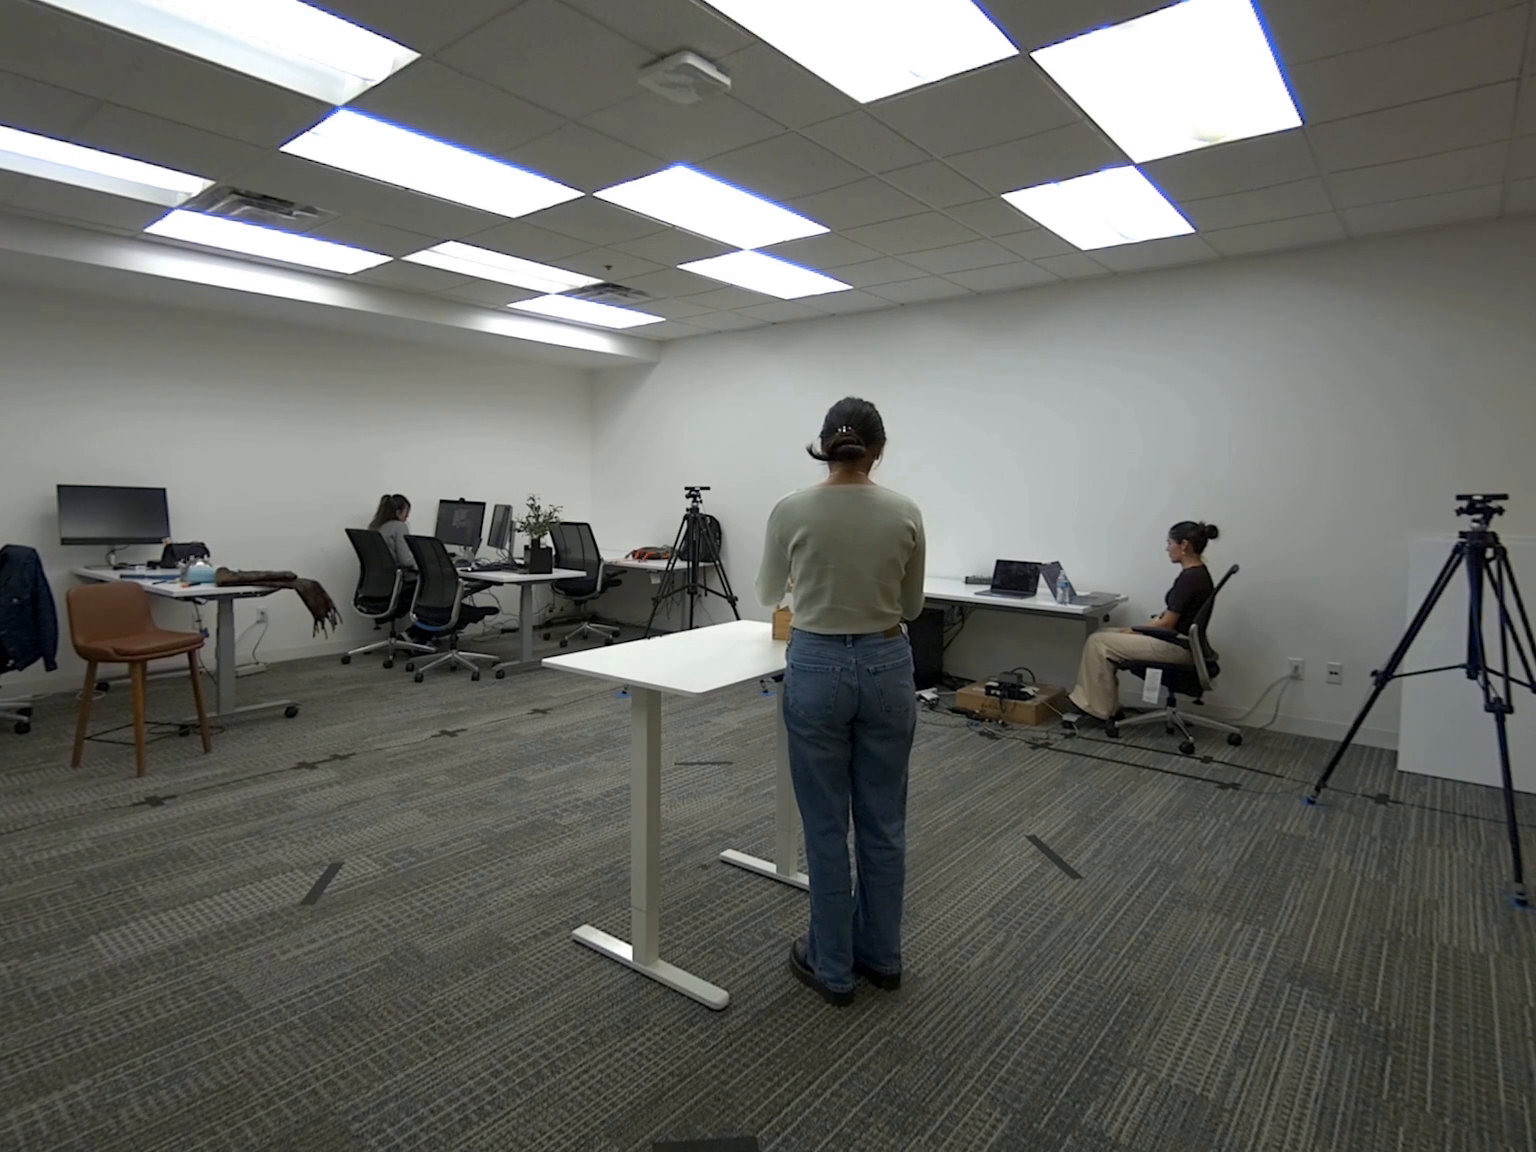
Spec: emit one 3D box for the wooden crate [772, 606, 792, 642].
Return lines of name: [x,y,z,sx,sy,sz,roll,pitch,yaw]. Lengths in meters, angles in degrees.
wooden crate: [0.170,0.070,2.892,0.330,0.272,0.298,2,5,16]
